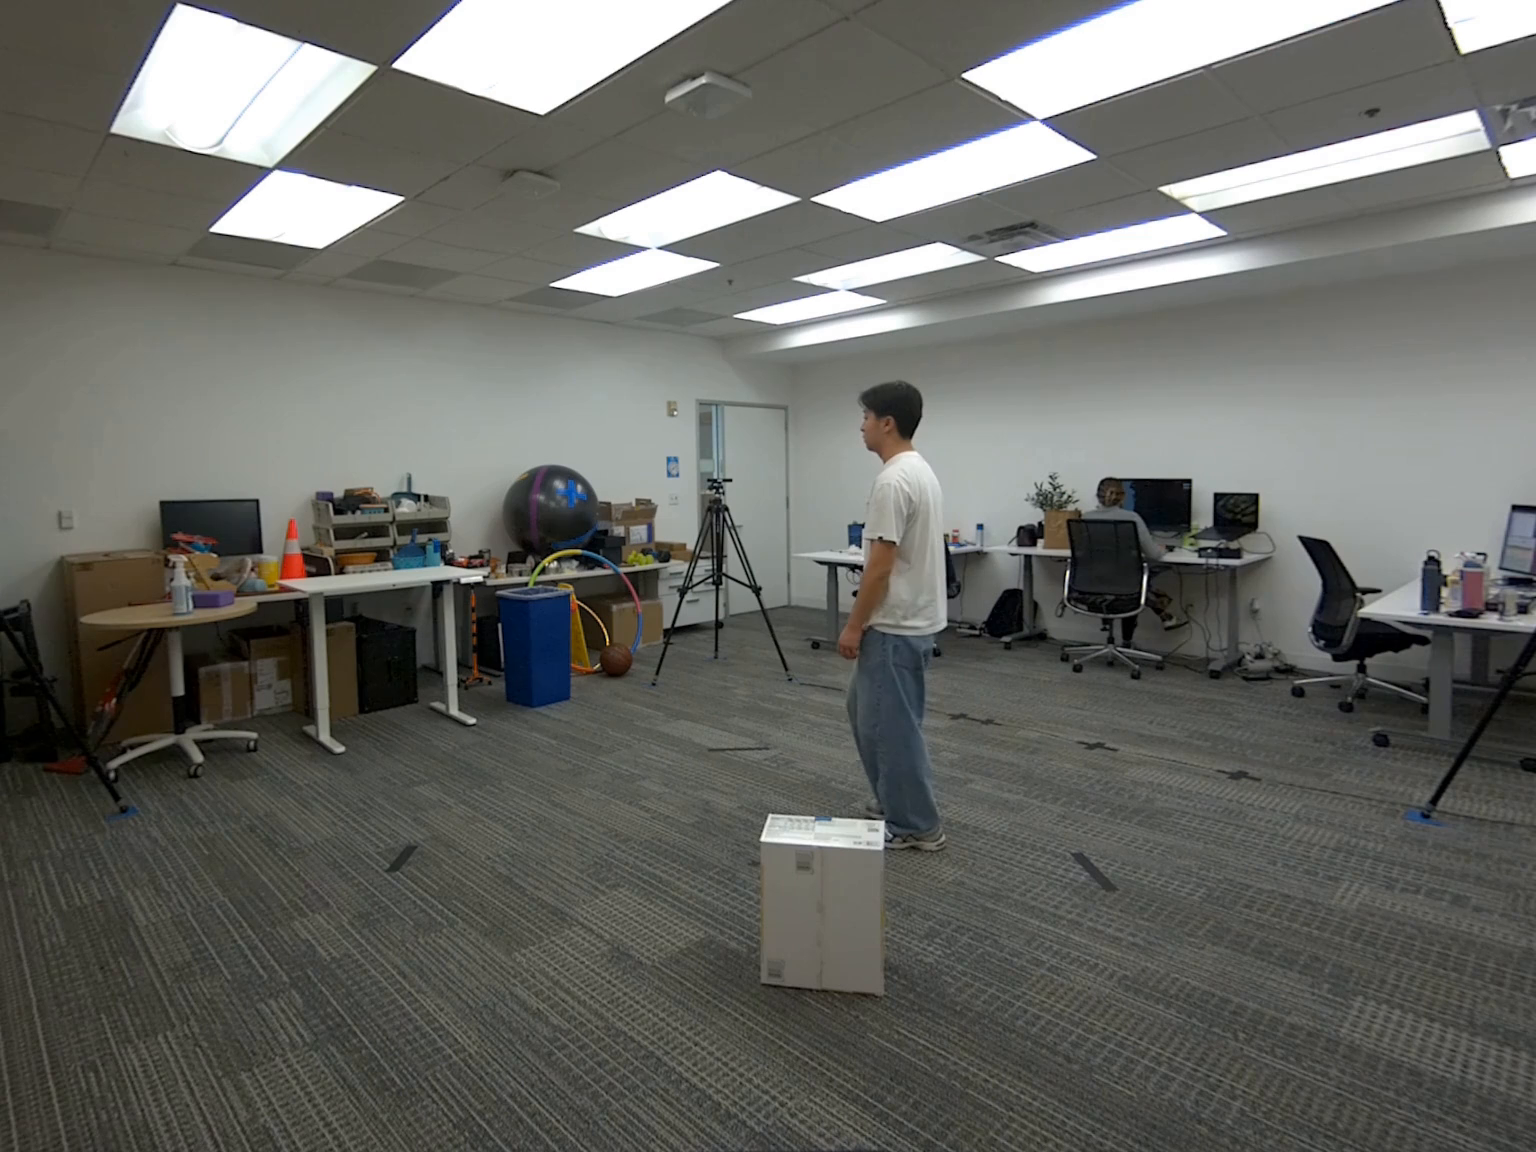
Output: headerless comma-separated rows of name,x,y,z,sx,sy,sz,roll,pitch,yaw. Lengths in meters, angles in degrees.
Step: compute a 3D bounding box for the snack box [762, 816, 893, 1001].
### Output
snack box,0.171,0.920,2.409,0.344,0.404,0.204,0,3,10
